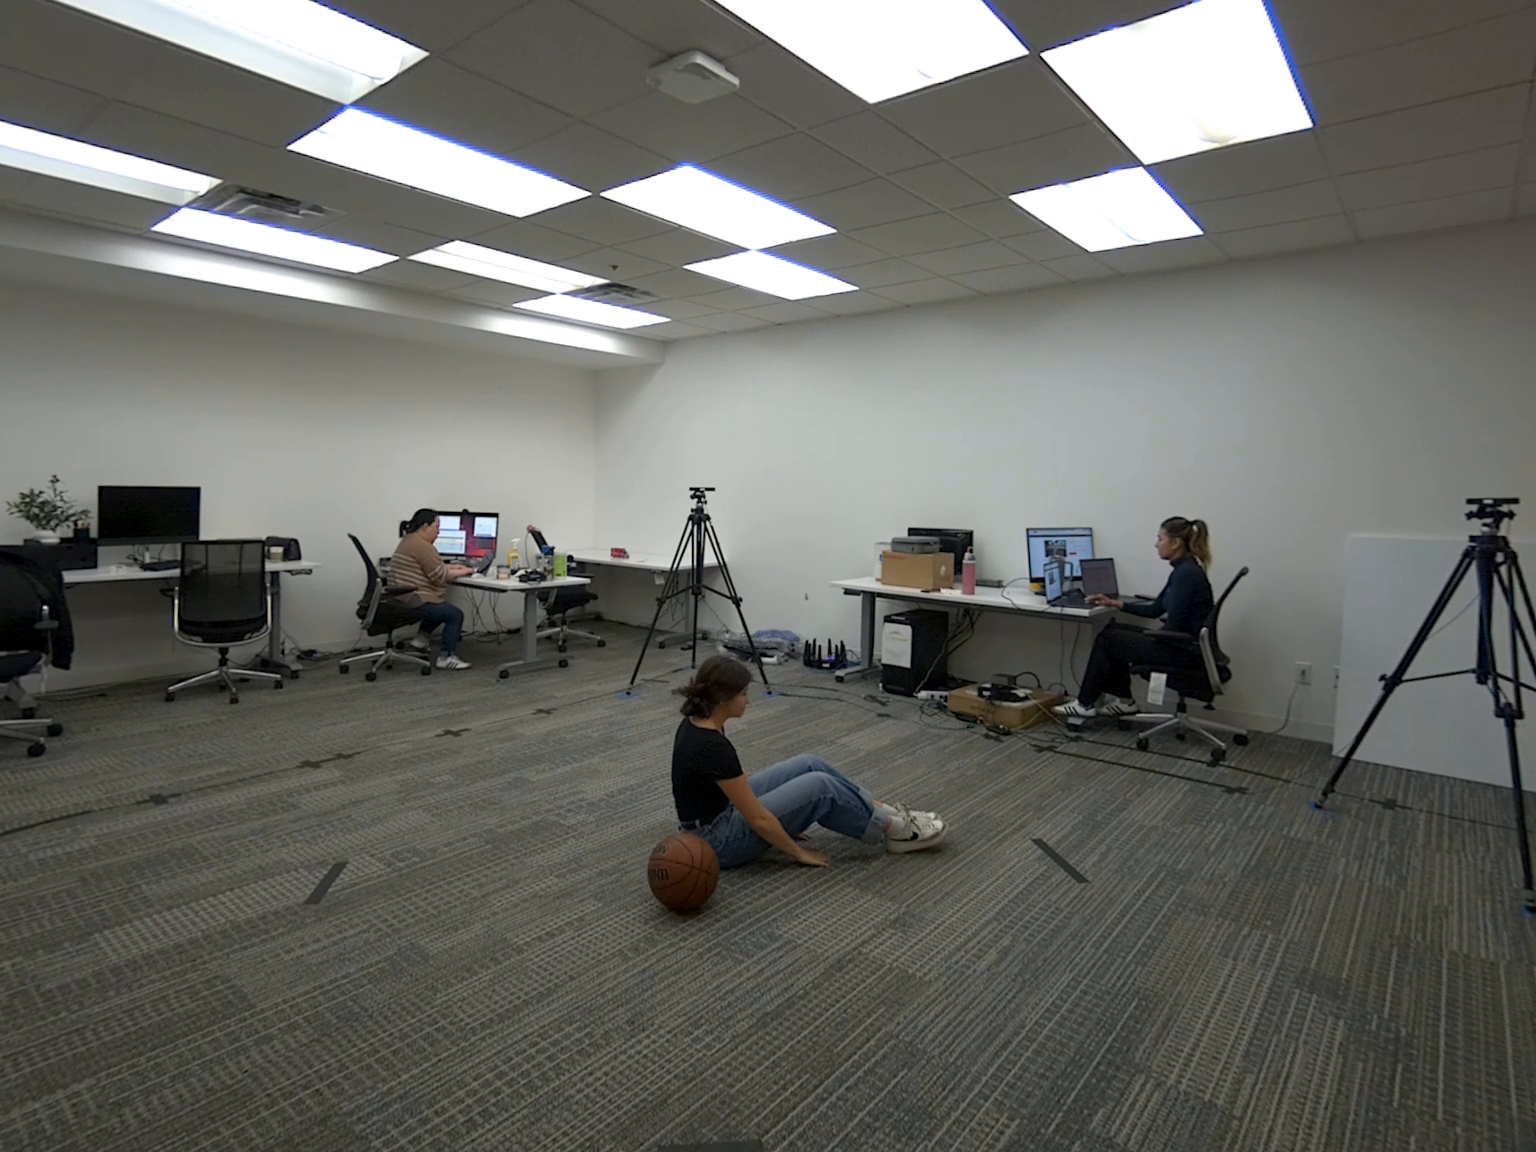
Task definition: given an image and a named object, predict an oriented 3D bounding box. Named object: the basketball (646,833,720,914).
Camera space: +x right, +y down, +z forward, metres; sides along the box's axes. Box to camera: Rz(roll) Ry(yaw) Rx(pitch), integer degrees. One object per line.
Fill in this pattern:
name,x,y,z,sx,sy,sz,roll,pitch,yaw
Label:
basketball,-0.284,0.967,2.815,0.235,0.235,0.237,1,4,-2
